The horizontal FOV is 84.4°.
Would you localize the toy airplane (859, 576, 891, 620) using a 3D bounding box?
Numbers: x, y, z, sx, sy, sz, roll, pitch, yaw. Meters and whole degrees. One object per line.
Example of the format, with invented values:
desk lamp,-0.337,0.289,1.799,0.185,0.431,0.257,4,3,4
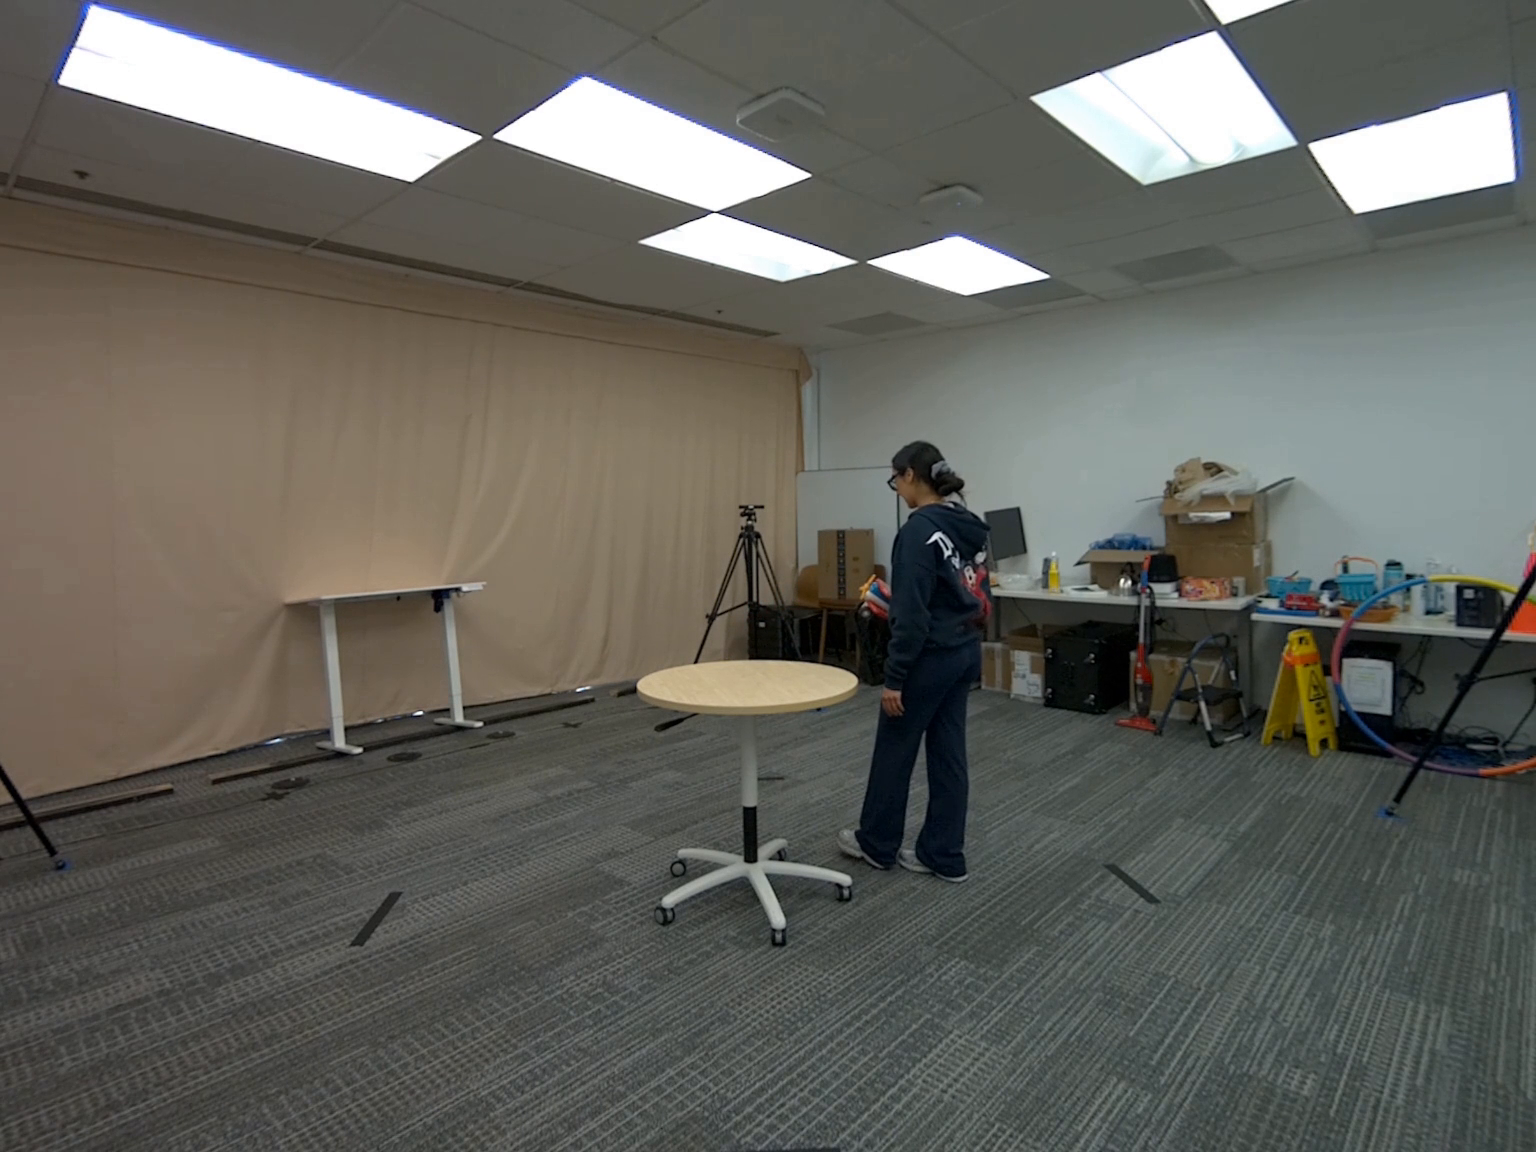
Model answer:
toy airplane,0.496,0.121,3.456,0.251,0.156,0.259,14,14,-30
